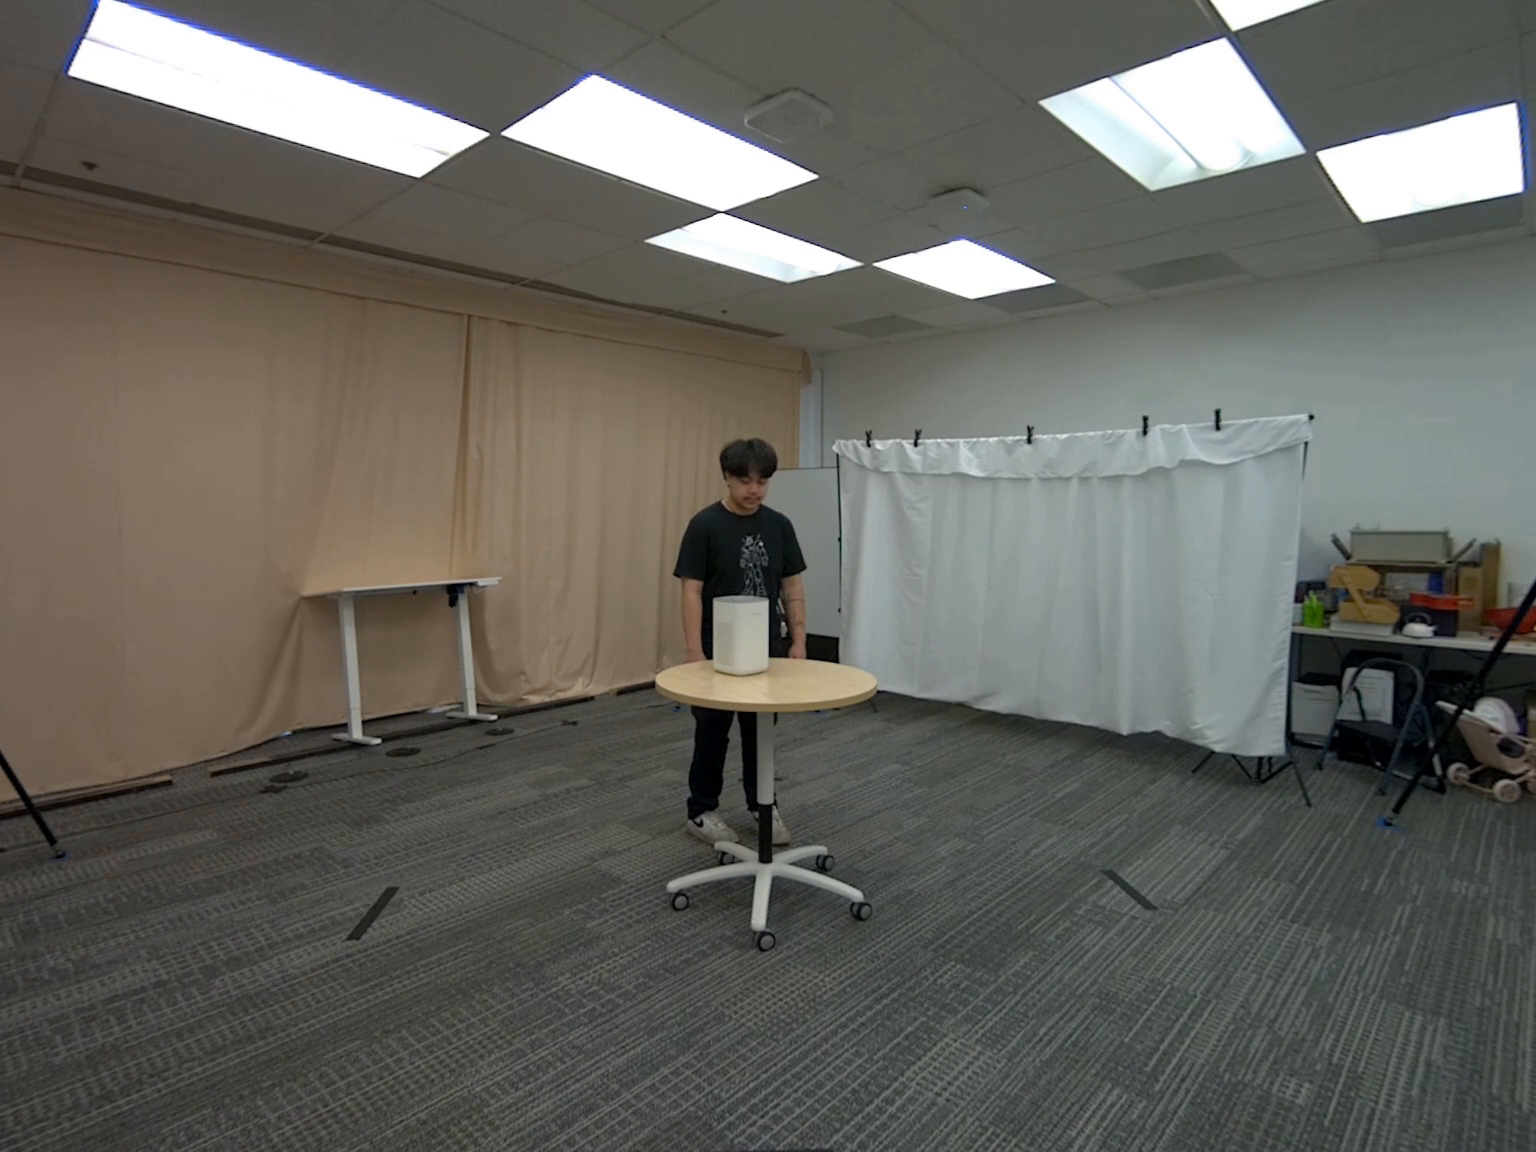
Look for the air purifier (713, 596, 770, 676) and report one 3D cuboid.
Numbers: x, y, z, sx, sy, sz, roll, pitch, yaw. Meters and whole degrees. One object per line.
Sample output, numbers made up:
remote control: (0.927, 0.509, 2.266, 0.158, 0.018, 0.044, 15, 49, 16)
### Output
air purifier: (-0.099, 0.205, 3.032, 0.177, 0.265, 0.166, 4, 5, 43)
